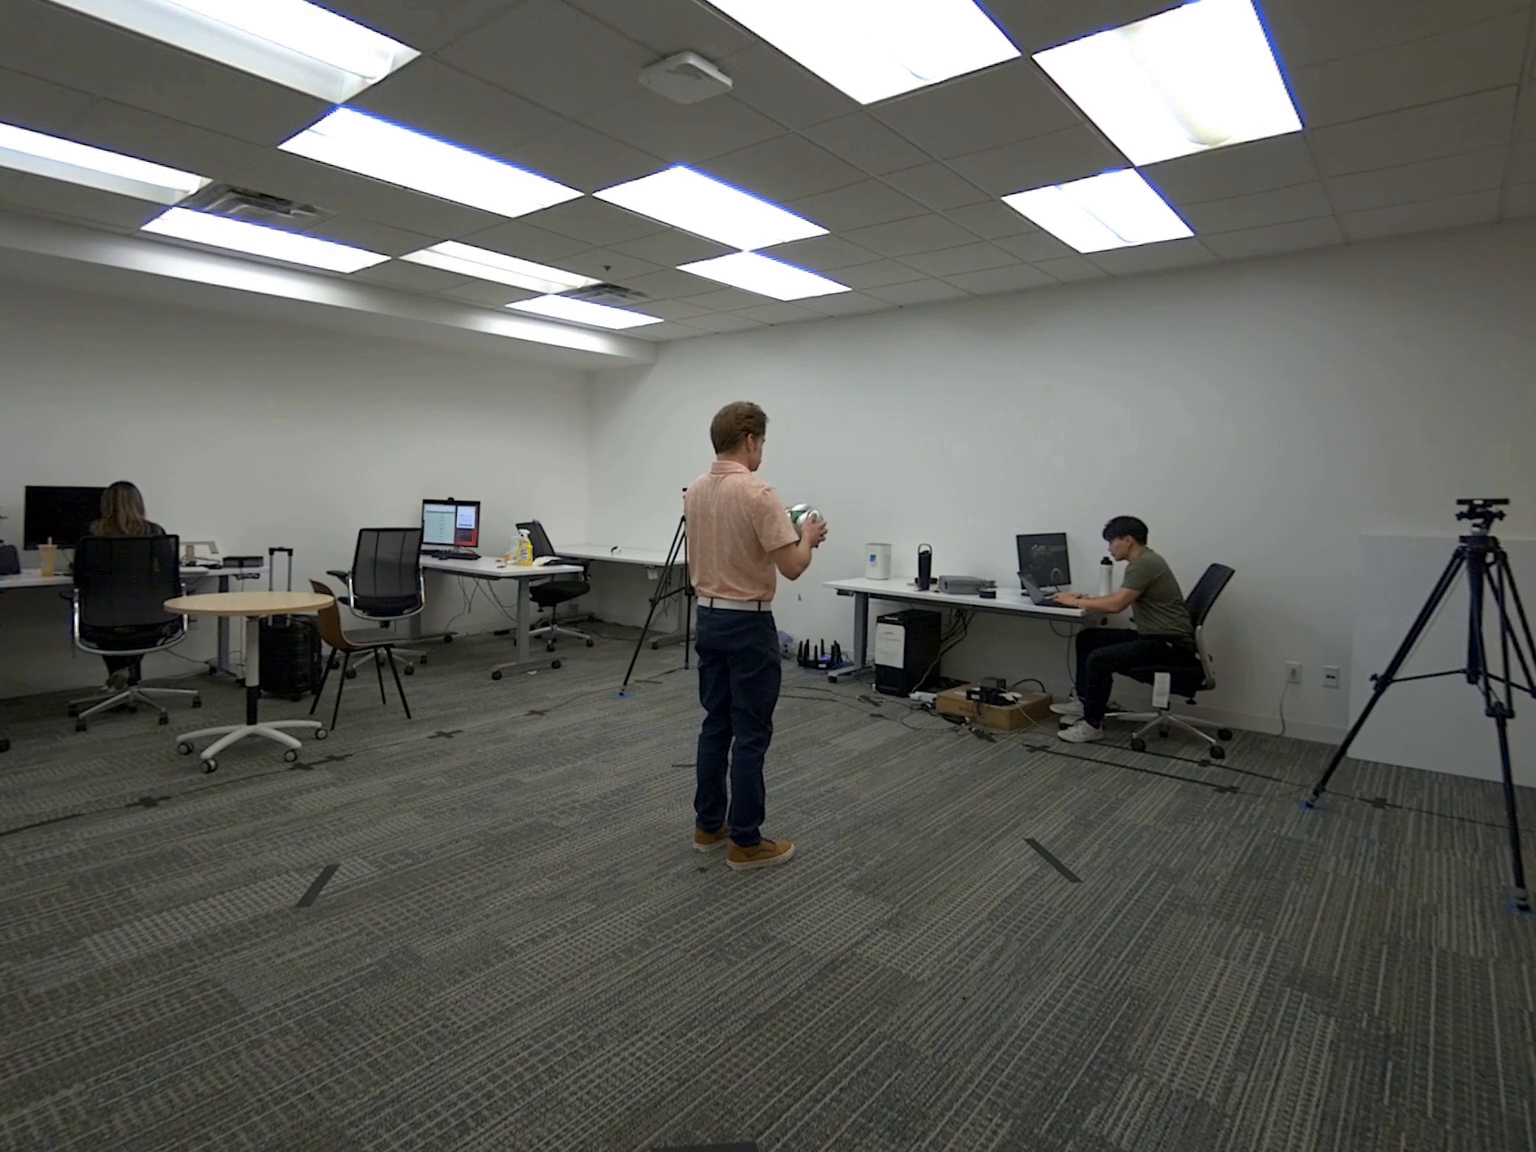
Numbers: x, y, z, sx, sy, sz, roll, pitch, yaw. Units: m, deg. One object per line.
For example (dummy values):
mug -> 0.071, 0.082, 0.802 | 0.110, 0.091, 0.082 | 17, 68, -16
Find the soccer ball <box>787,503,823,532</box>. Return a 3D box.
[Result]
soccer ball -> 0.127, -0.206, 3.392 | 0.187, 0.187, 0.188 | 1, 4, -2
